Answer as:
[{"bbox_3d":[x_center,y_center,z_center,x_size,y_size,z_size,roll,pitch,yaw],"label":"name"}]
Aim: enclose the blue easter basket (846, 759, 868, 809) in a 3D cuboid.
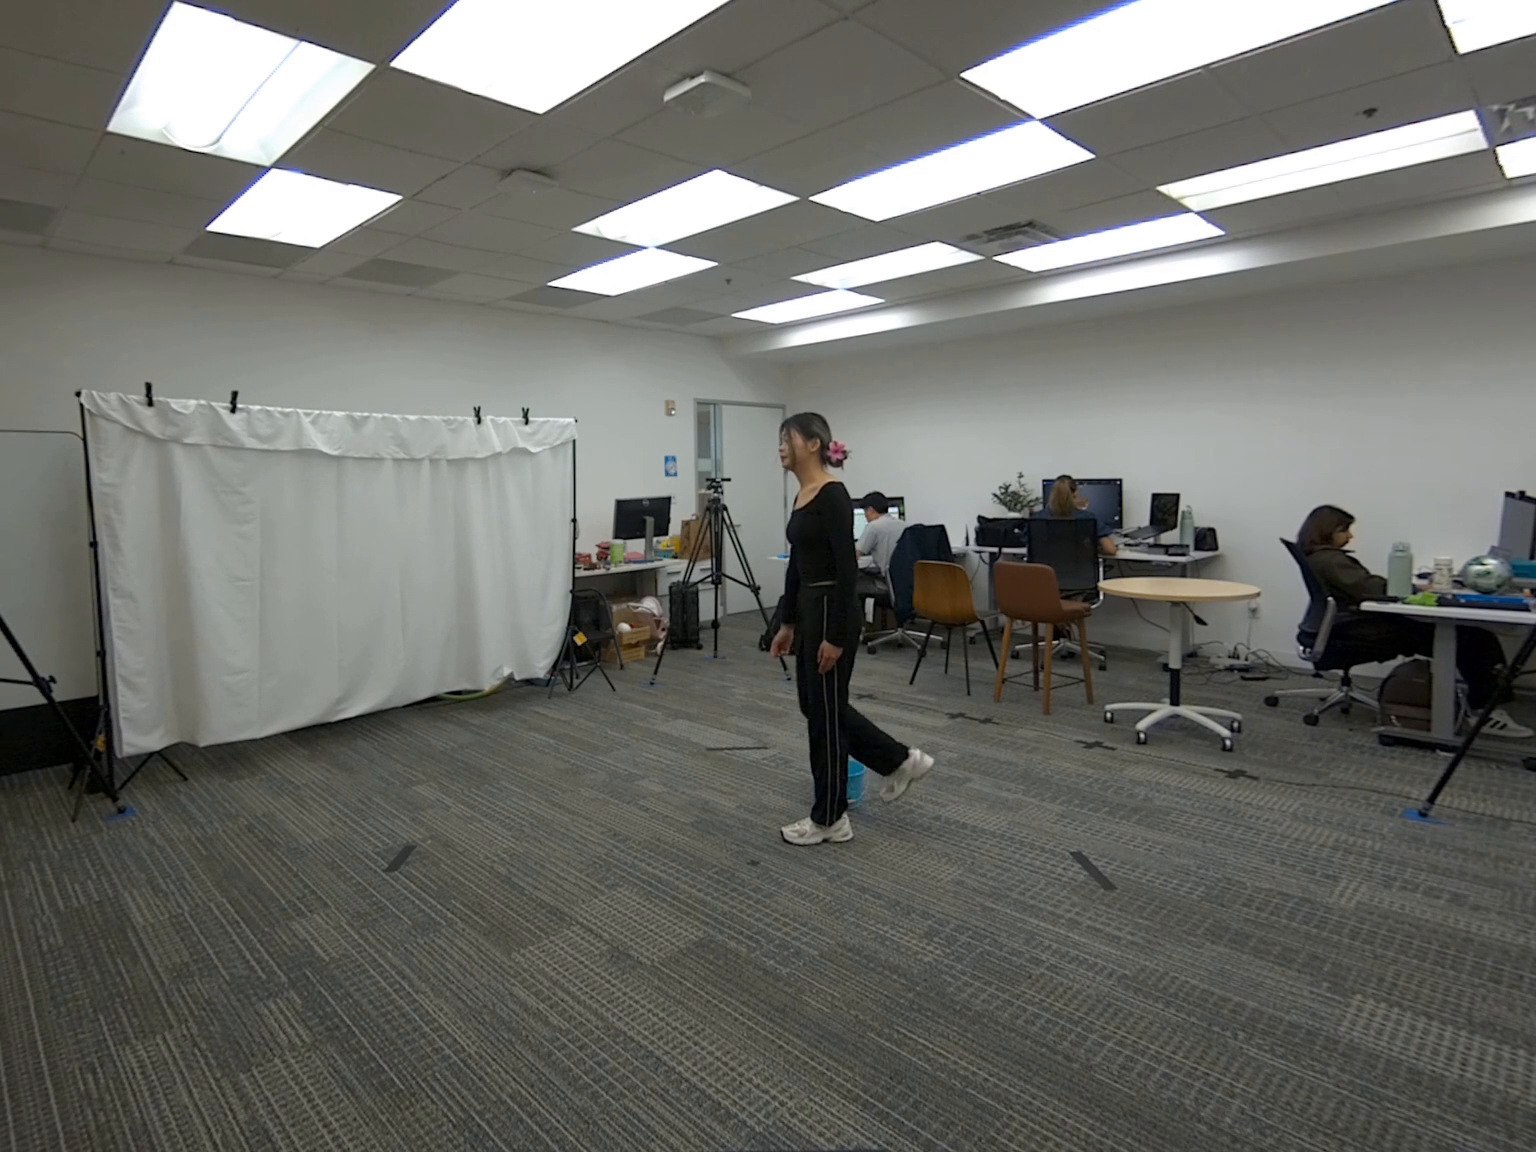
[{"bbox_3d":[0.316,0.892,3.675,0.243,0.155,0.245,0,6,-2],"label":"blue easter basket"}]
